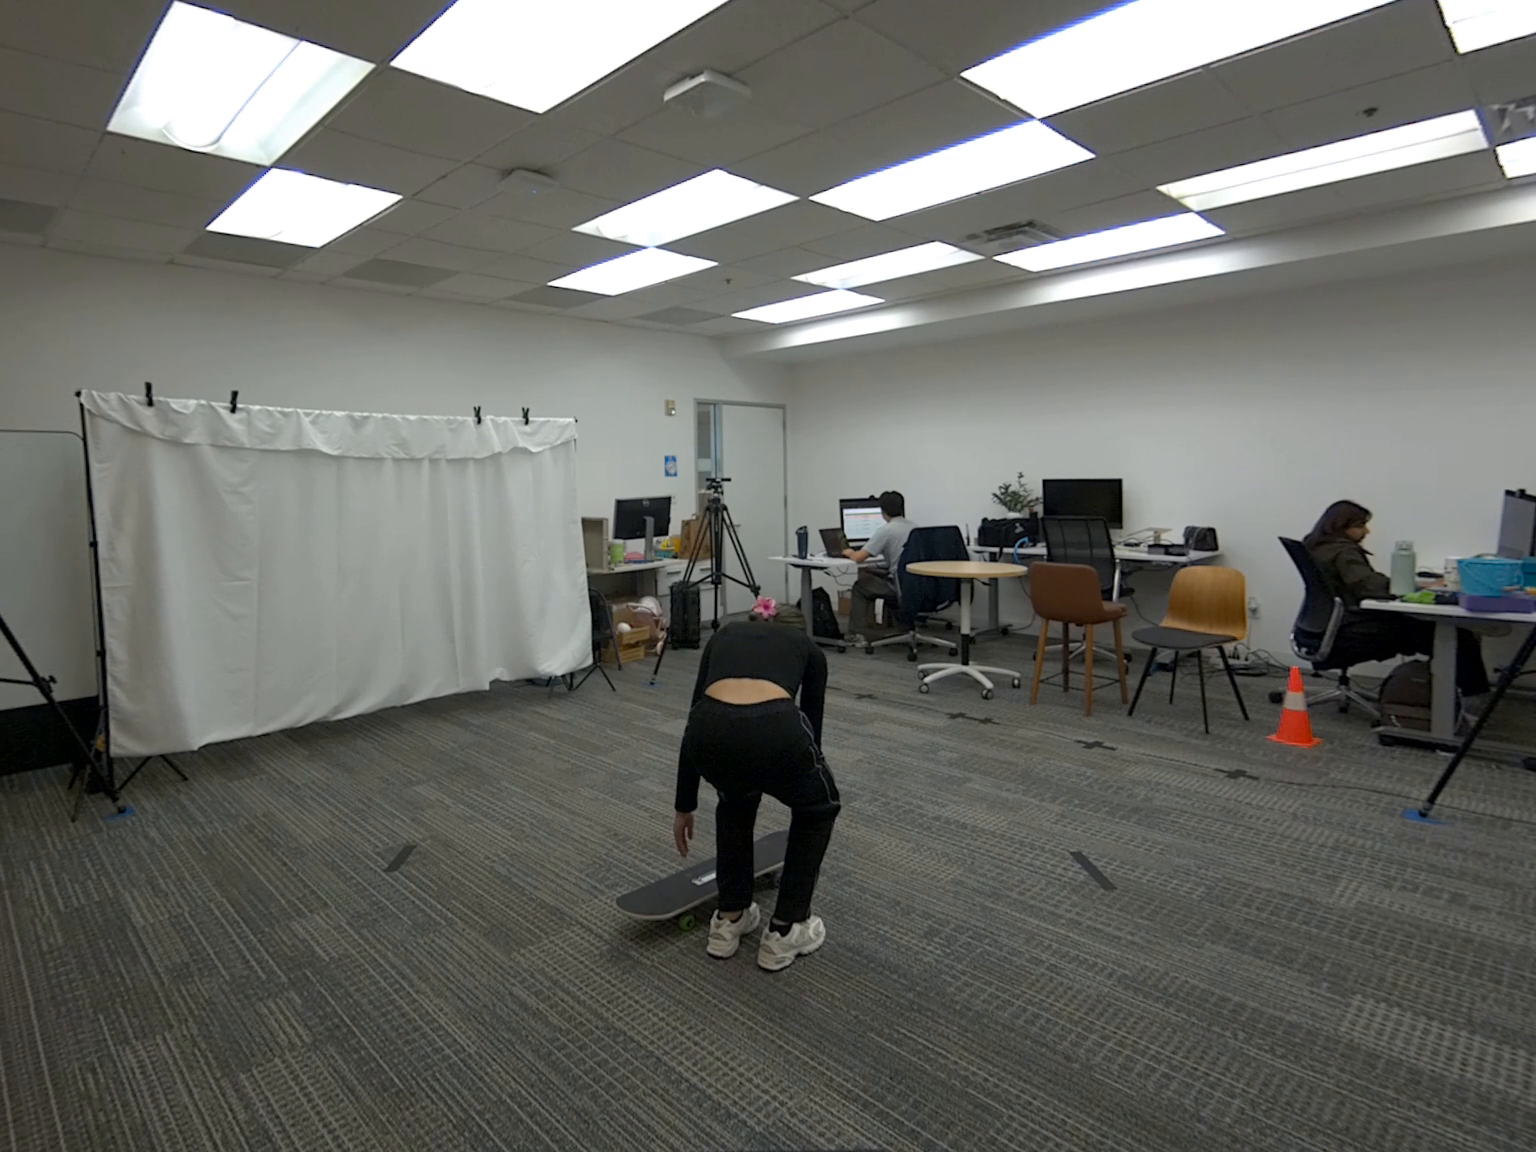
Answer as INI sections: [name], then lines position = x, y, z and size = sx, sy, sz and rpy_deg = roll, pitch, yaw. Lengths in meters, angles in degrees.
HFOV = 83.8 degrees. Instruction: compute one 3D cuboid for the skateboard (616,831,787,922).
[skateboard]
position = -0.163, 1.018, 2.839
size = 0.765, 0.110, 0.199
rpy_deg = -7, 8, -44
